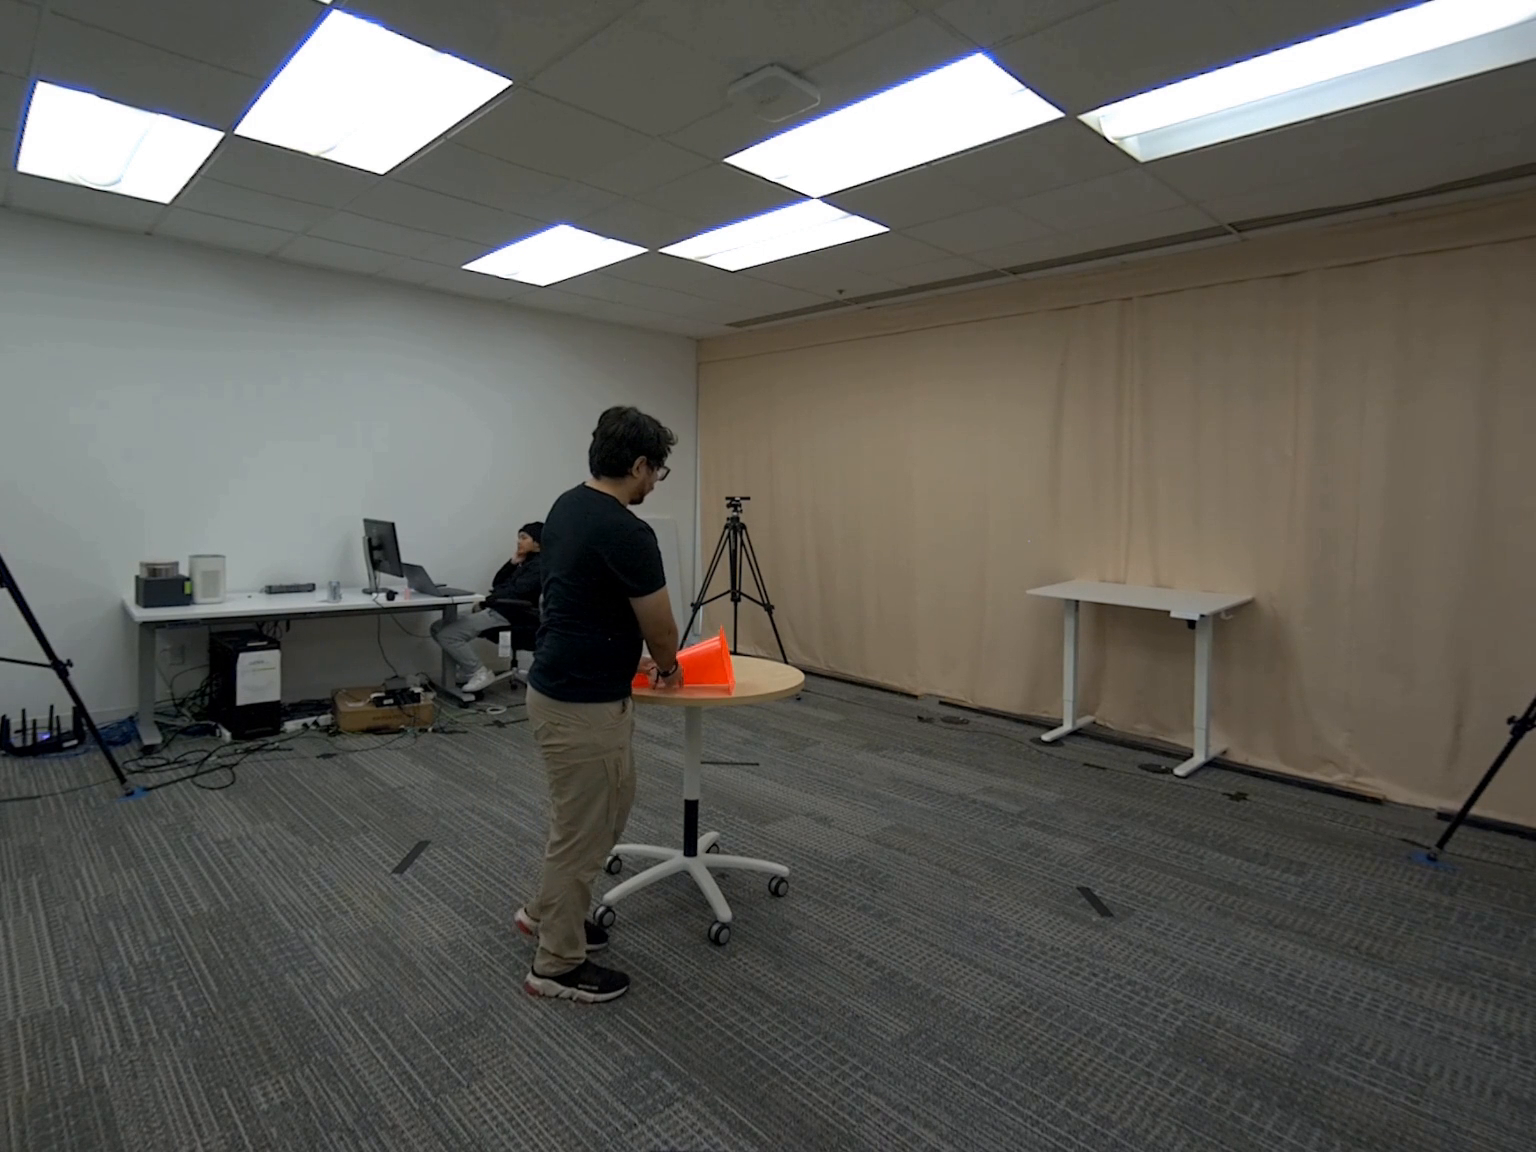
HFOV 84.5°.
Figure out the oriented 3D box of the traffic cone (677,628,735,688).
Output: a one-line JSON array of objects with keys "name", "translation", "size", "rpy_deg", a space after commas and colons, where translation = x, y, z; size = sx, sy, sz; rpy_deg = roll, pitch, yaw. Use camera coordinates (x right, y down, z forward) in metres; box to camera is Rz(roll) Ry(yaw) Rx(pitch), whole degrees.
[{"name": "traffic cone", "translation": [-0.318, 0.290, 2.677], "size": [0.384, 0.206, 0.202], "rpy_deg": [-7, -5, 3]}]
